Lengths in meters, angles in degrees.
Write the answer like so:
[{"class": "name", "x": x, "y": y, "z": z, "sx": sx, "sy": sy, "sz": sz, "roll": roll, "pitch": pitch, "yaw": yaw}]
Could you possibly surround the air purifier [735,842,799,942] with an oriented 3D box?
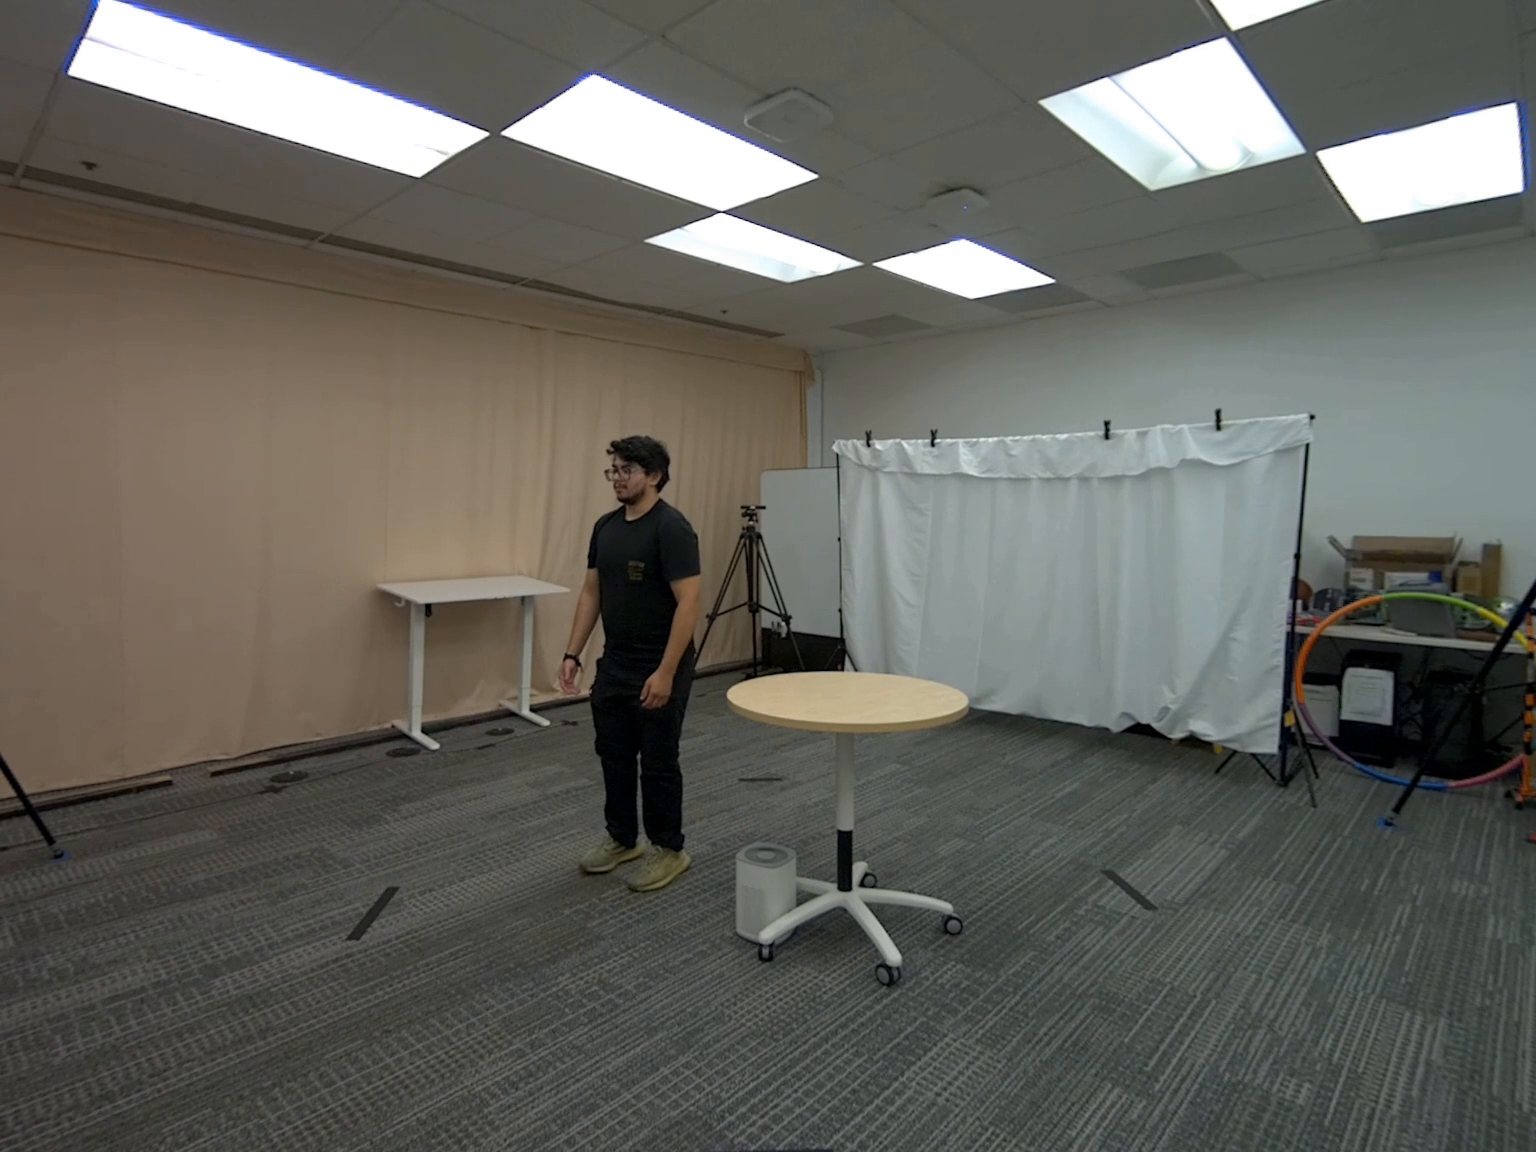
[{"class": "air purifier", "x": -0.005, "y": 1.032, "z": 2.730, "sx": 0.177, "sy": 0.265, "sz": 0.166, "roll": 2, "pitch": 4, "yaw": 31}]
